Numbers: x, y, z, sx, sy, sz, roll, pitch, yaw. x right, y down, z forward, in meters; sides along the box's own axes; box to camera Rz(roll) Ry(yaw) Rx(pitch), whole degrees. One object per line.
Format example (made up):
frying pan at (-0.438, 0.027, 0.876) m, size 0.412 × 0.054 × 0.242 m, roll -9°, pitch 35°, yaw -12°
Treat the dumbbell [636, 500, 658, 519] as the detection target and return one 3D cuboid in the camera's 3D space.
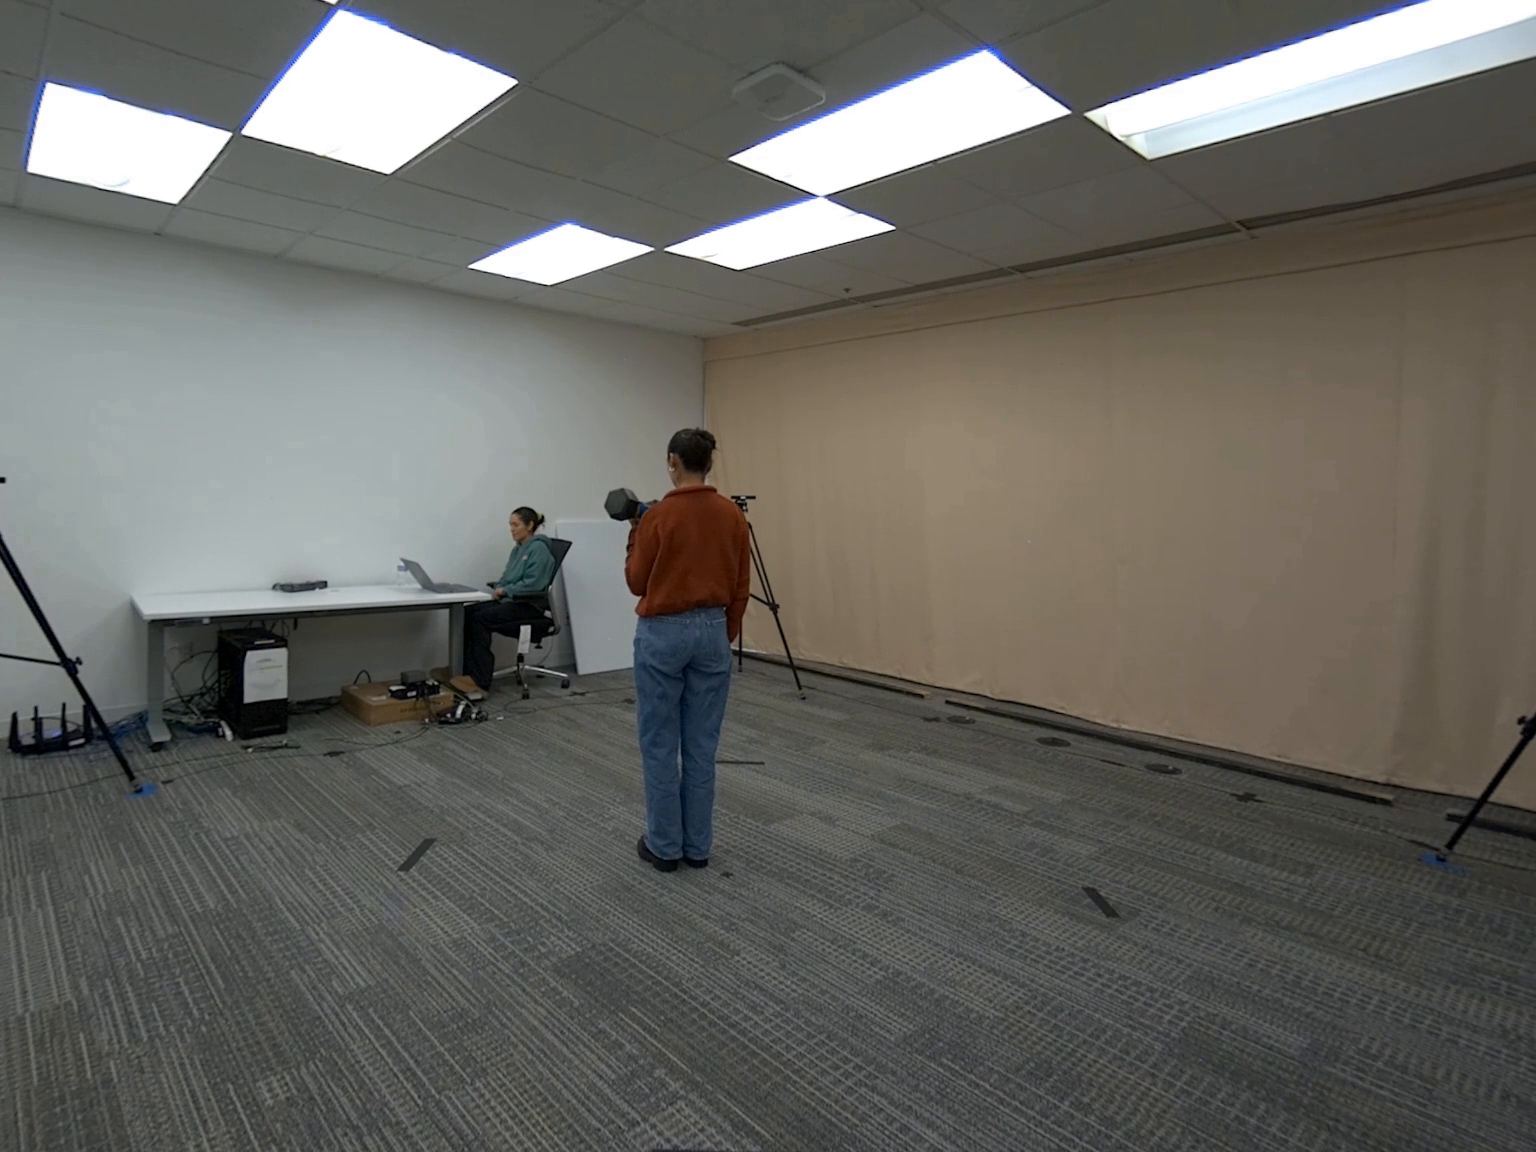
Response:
dumbbell at (-0.490, -0.247, 3.202) m, size 0.111 × 0.123 × 0.286 m, roll 24°, pitch 4°, yaw 28°
